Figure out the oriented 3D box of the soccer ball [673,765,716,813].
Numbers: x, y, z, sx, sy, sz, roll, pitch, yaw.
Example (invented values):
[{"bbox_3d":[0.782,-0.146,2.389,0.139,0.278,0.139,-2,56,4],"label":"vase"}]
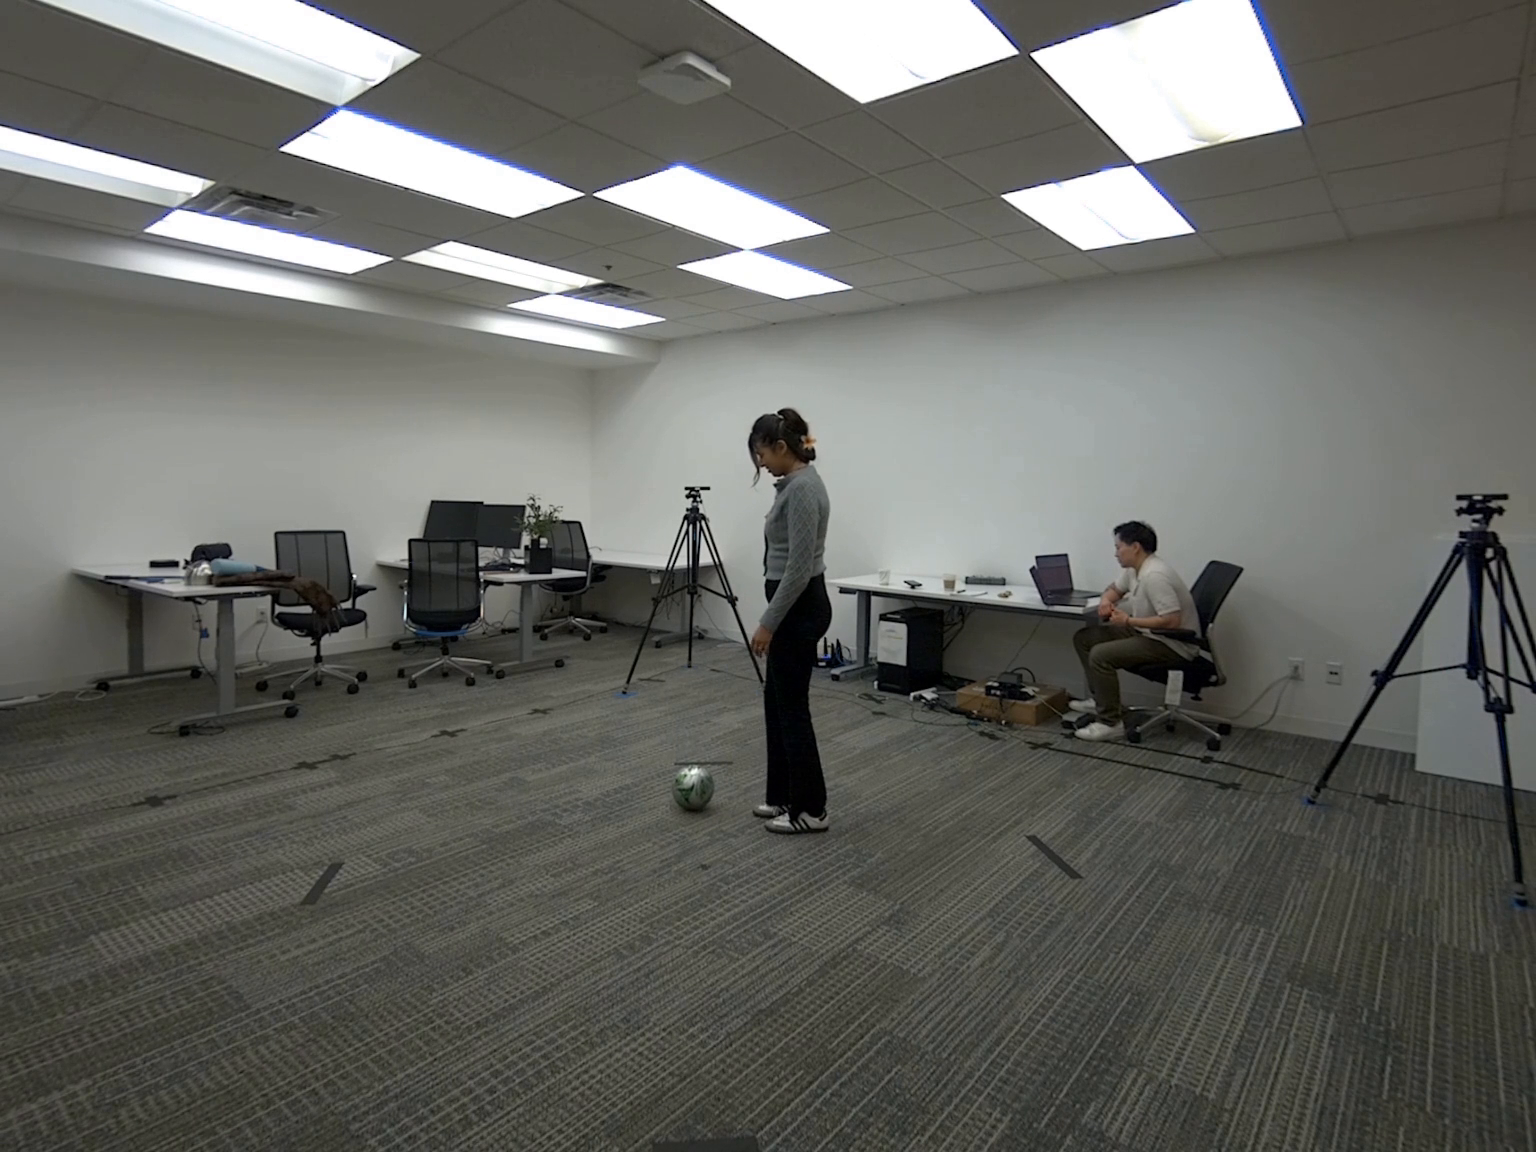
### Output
[{"bbox_3d":[-0.335,0.915,3.690,0.187,0.187,0.188,1,4,-2],"label":"soccer ball"}]
